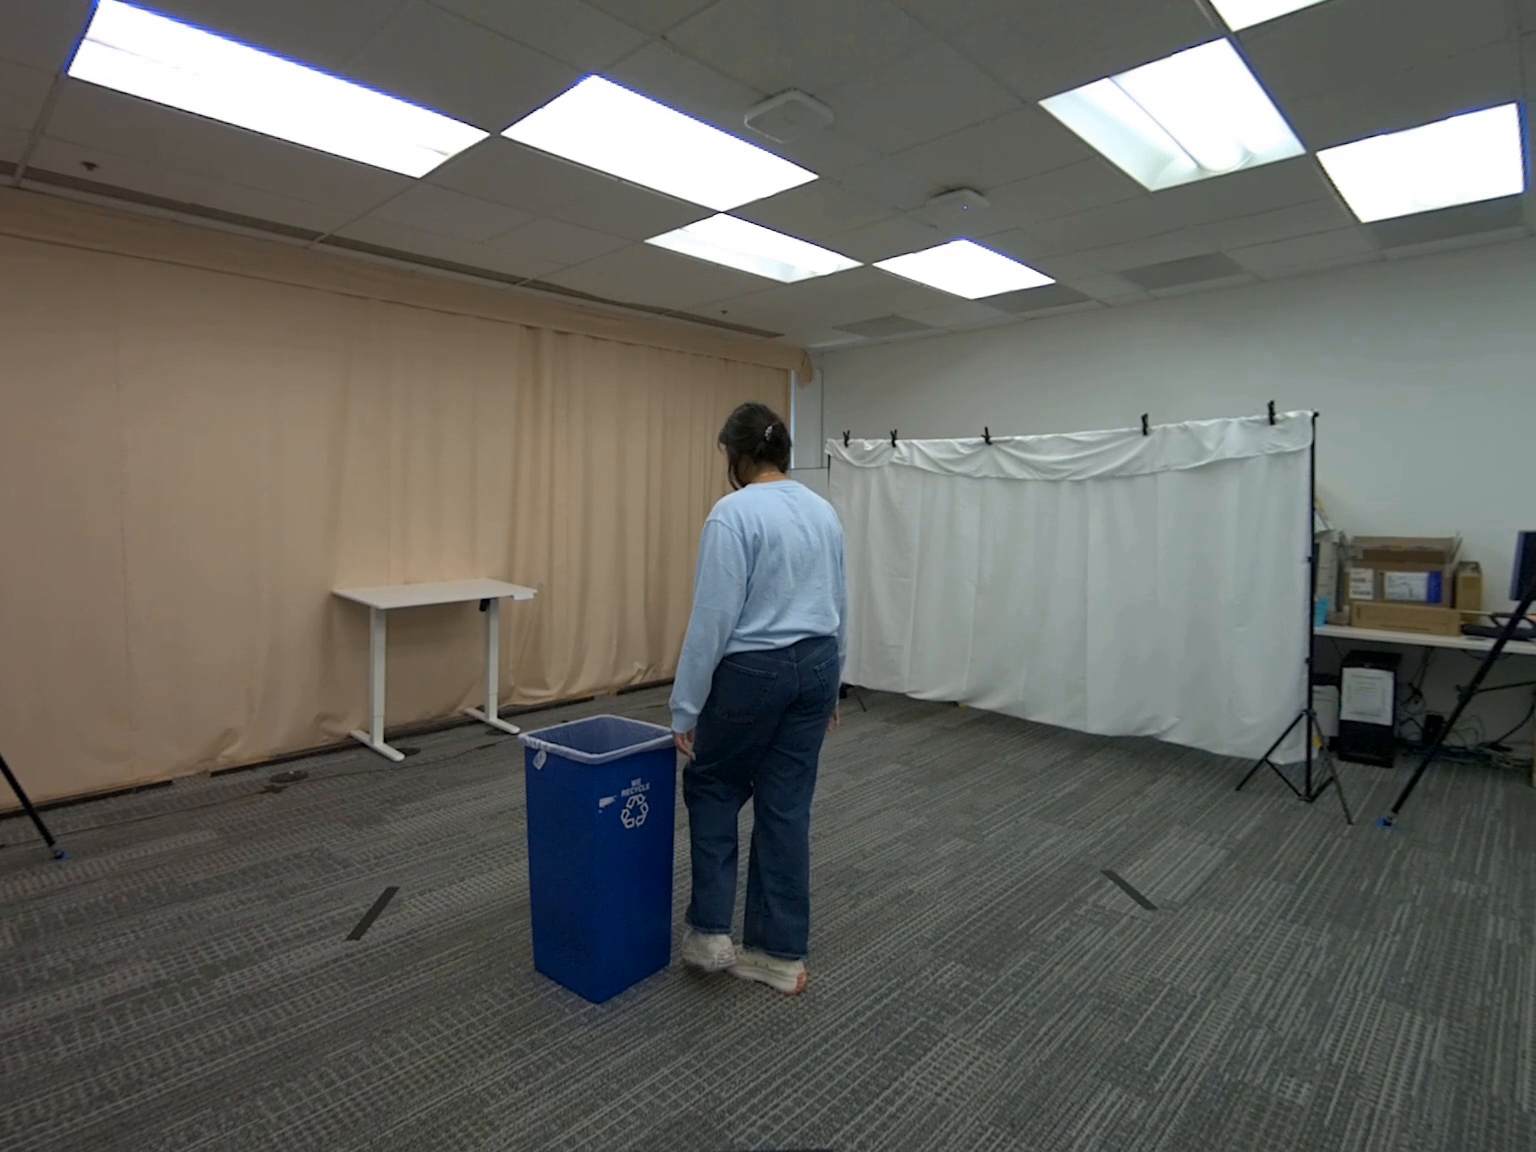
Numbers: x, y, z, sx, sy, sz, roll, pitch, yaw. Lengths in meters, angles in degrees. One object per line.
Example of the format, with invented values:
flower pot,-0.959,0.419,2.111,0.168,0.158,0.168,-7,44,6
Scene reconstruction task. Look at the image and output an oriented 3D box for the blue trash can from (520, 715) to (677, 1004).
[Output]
blue trash can,-0.493,0.829,2.540,0.386,0.712,0.366,2,3,38
